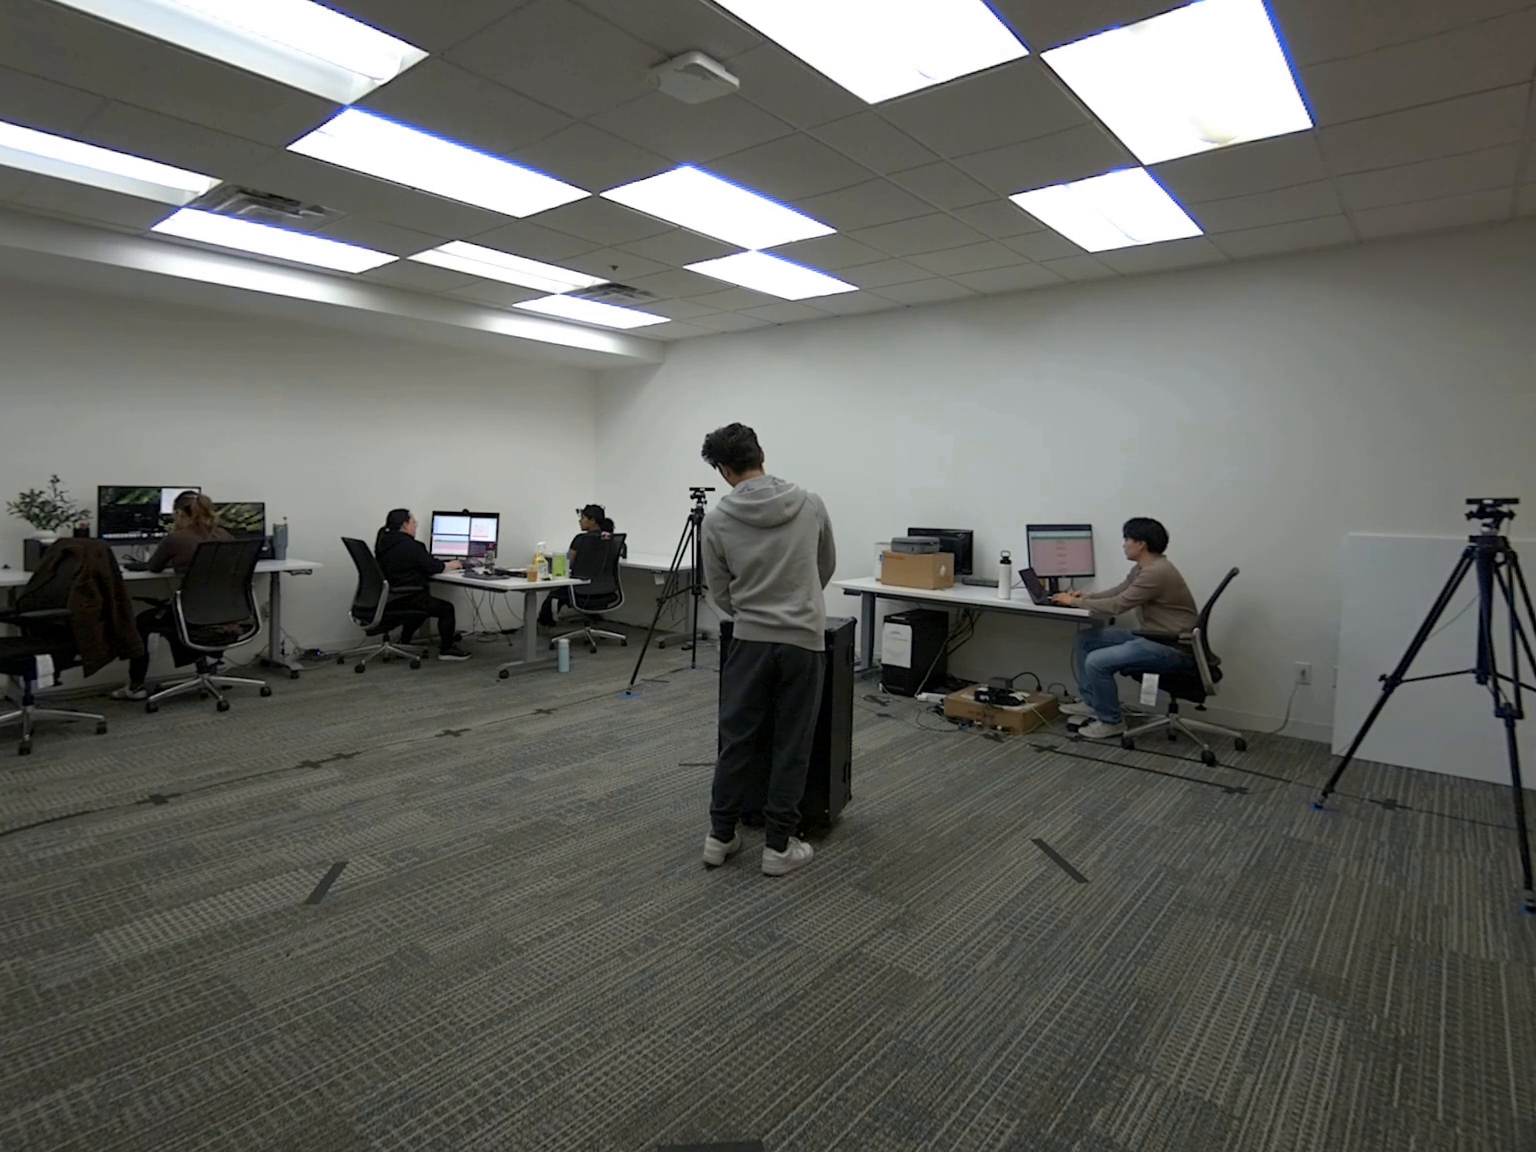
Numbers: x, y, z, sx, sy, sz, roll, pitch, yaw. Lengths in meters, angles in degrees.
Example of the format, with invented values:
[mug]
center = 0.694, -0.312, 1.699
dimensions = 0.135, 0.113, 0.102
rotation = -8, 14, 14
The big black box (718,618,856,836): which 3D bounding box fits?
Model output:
[big black box]
center = 0.076, 0.599, 3.554
dimensions = 0.533, 0.858, 0.389
rotation = 3, 5, 22
